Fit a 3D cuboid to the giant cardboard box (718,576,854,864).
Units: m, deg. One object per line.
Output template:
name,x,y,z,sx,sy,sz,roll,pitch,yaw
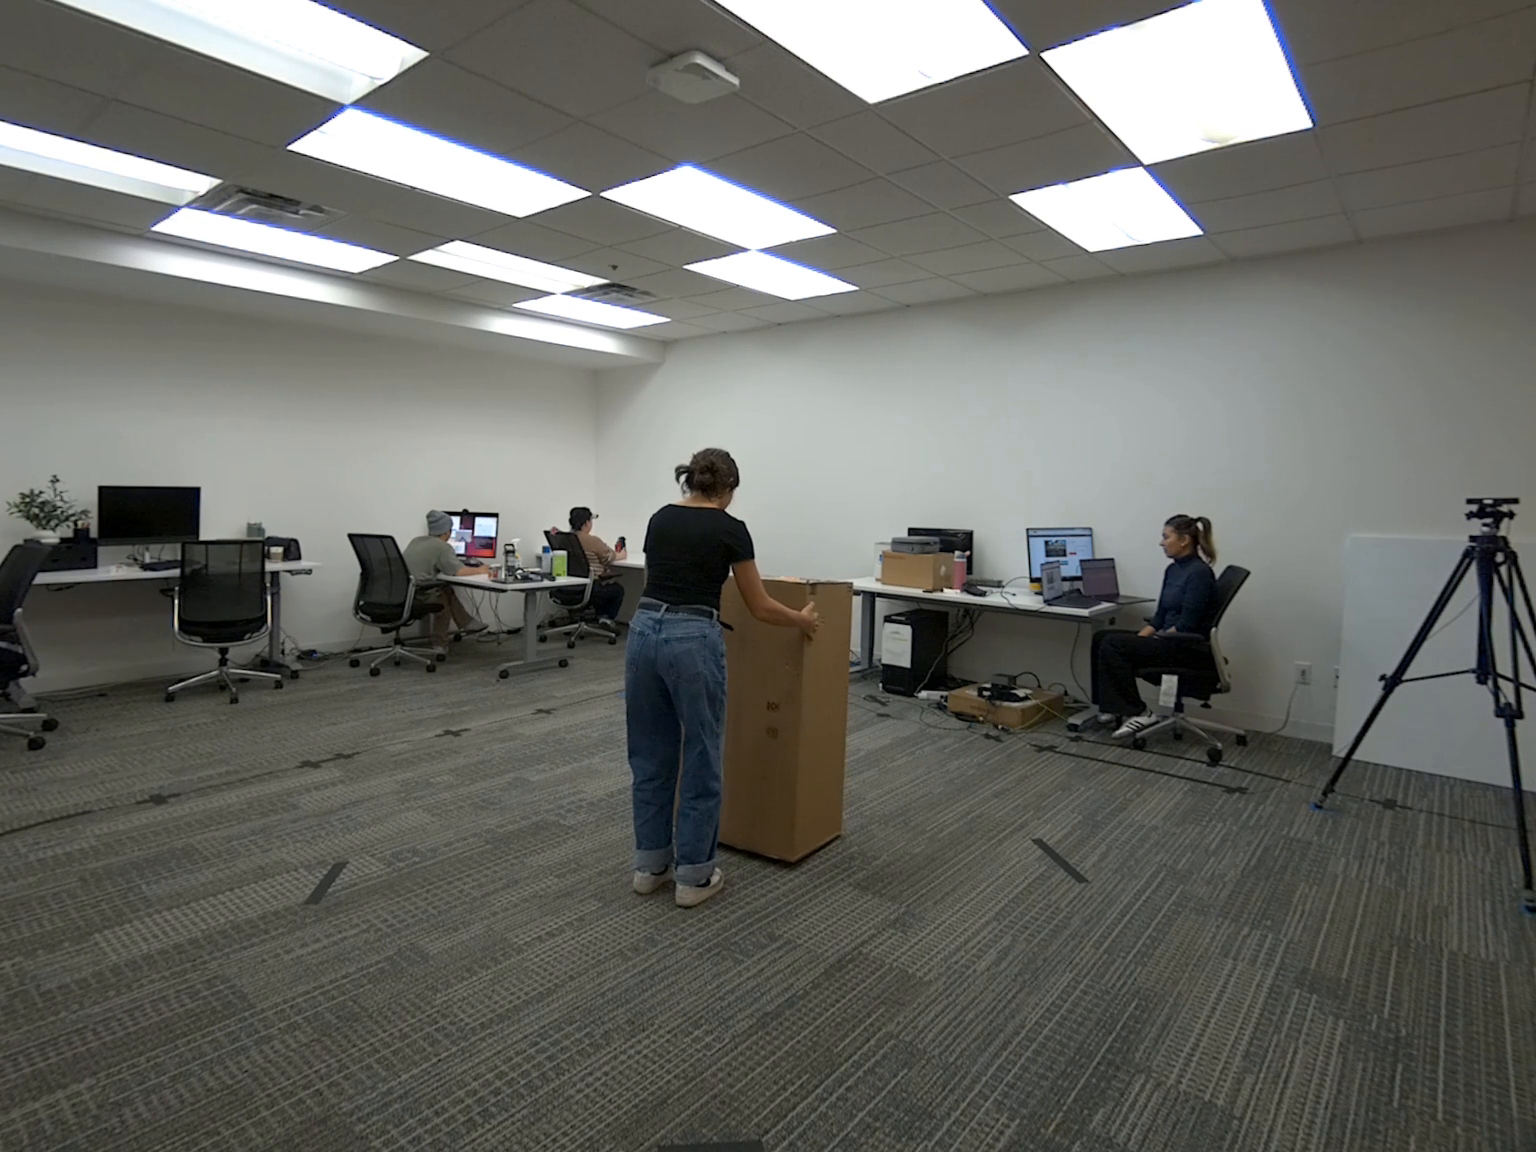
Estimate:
giant cardboard box,-0.029,0.515,3.436,0.595,1.027,0.413,3,-1,31
